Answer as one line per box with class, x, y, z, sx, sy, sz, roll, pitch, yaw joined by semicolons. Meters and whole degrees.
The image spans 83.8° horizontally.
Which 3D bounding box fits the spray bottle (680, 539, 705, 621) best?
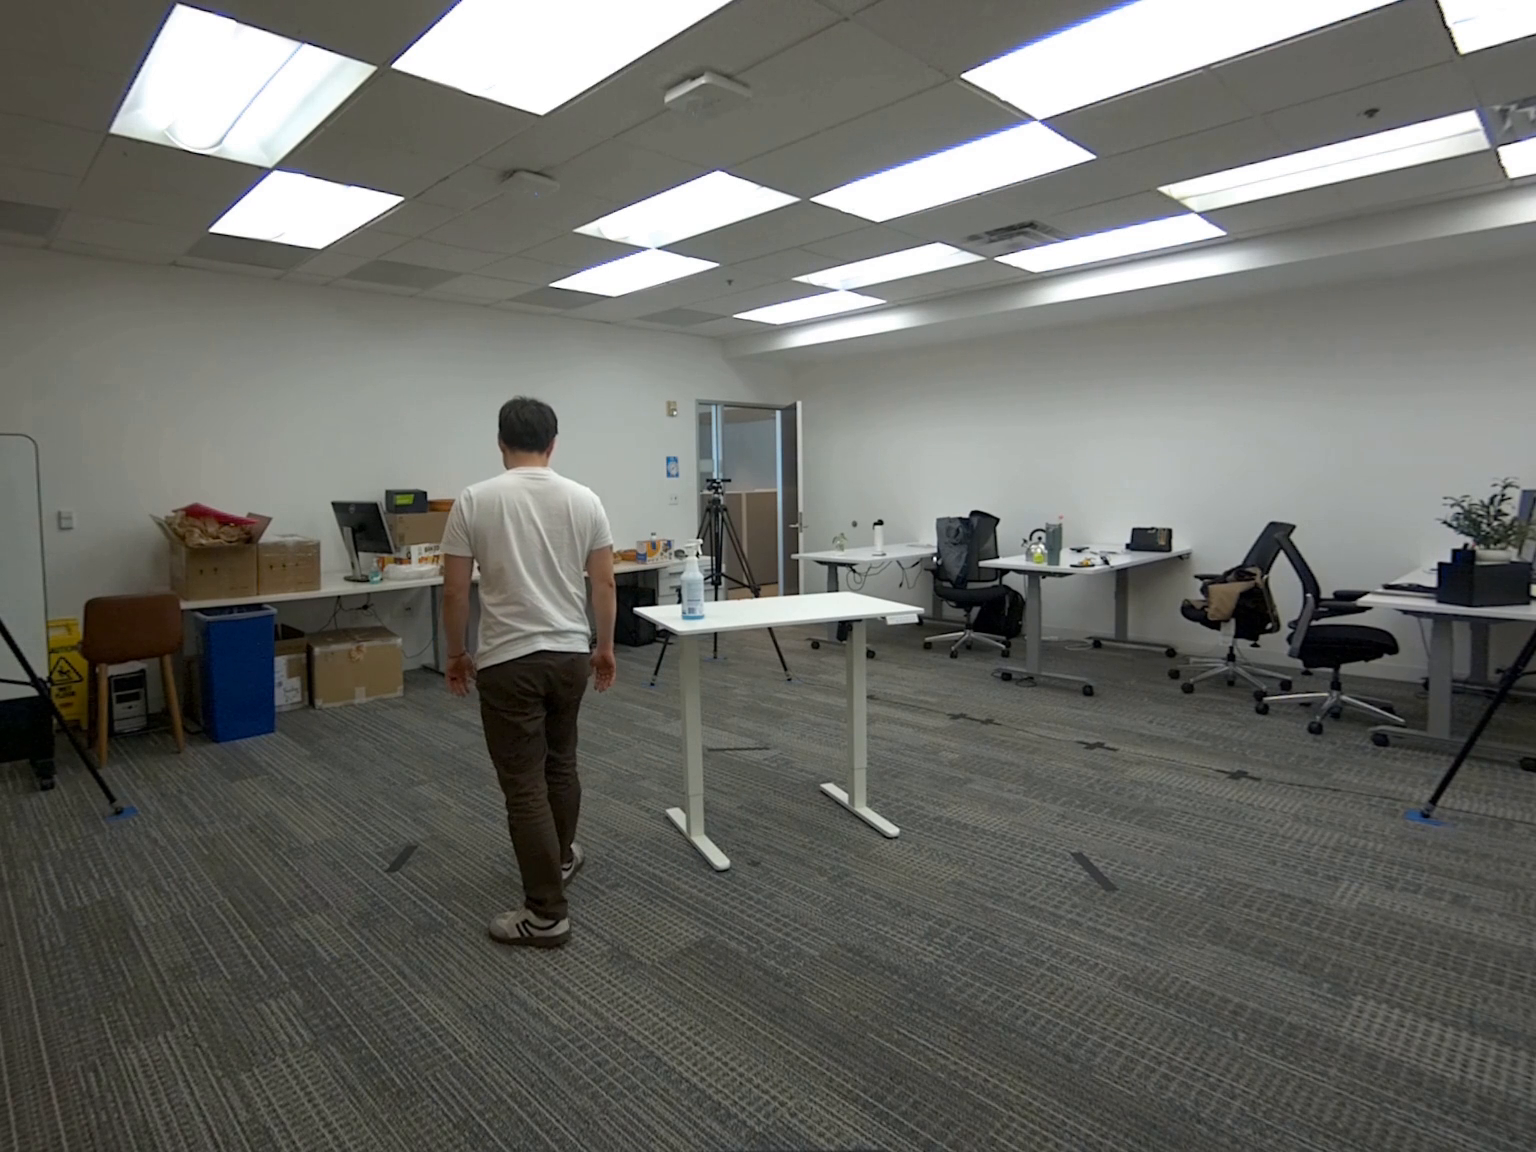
spray bottle;-0.282;0.014;3.185;0.085;0.296;0.092;0;3;-25
